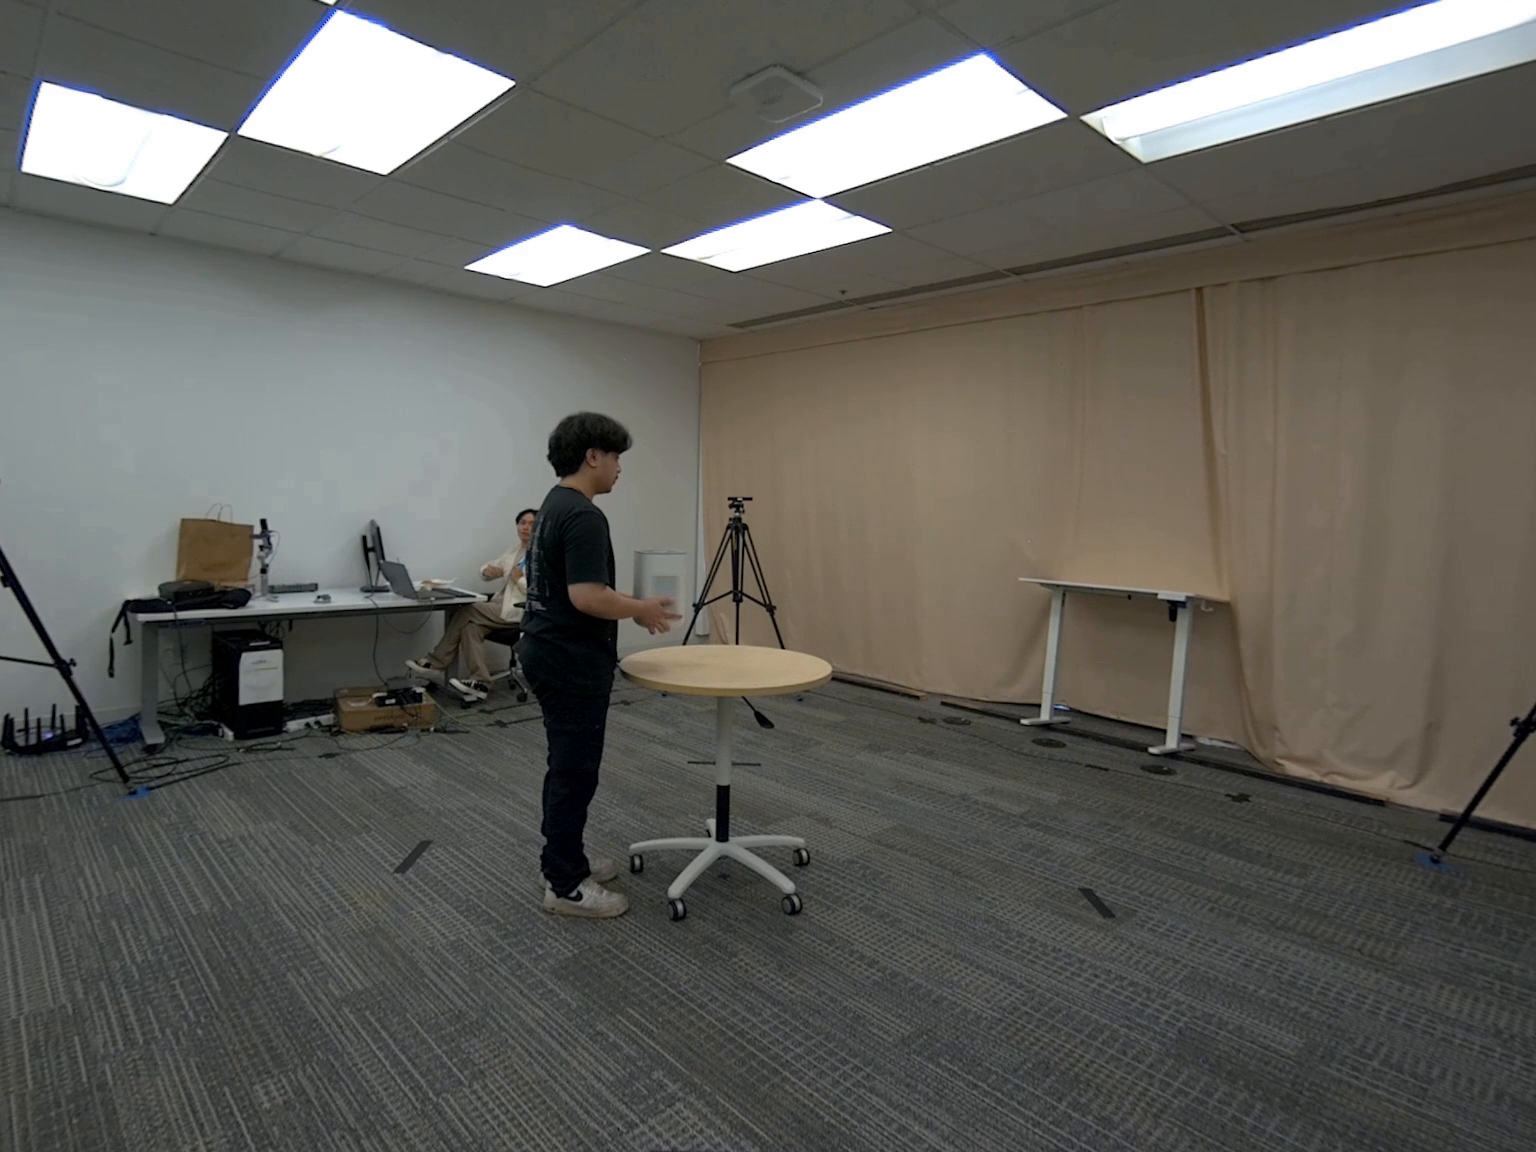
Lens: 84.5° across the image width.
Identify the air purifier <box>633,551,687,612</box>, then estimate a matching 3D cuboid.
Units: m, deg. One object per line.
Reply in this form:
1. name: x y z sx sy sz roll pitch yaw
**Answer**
1. air purifier: -0.398 0.043 2.964 0.169 0.264 0.174 0 5 -22
